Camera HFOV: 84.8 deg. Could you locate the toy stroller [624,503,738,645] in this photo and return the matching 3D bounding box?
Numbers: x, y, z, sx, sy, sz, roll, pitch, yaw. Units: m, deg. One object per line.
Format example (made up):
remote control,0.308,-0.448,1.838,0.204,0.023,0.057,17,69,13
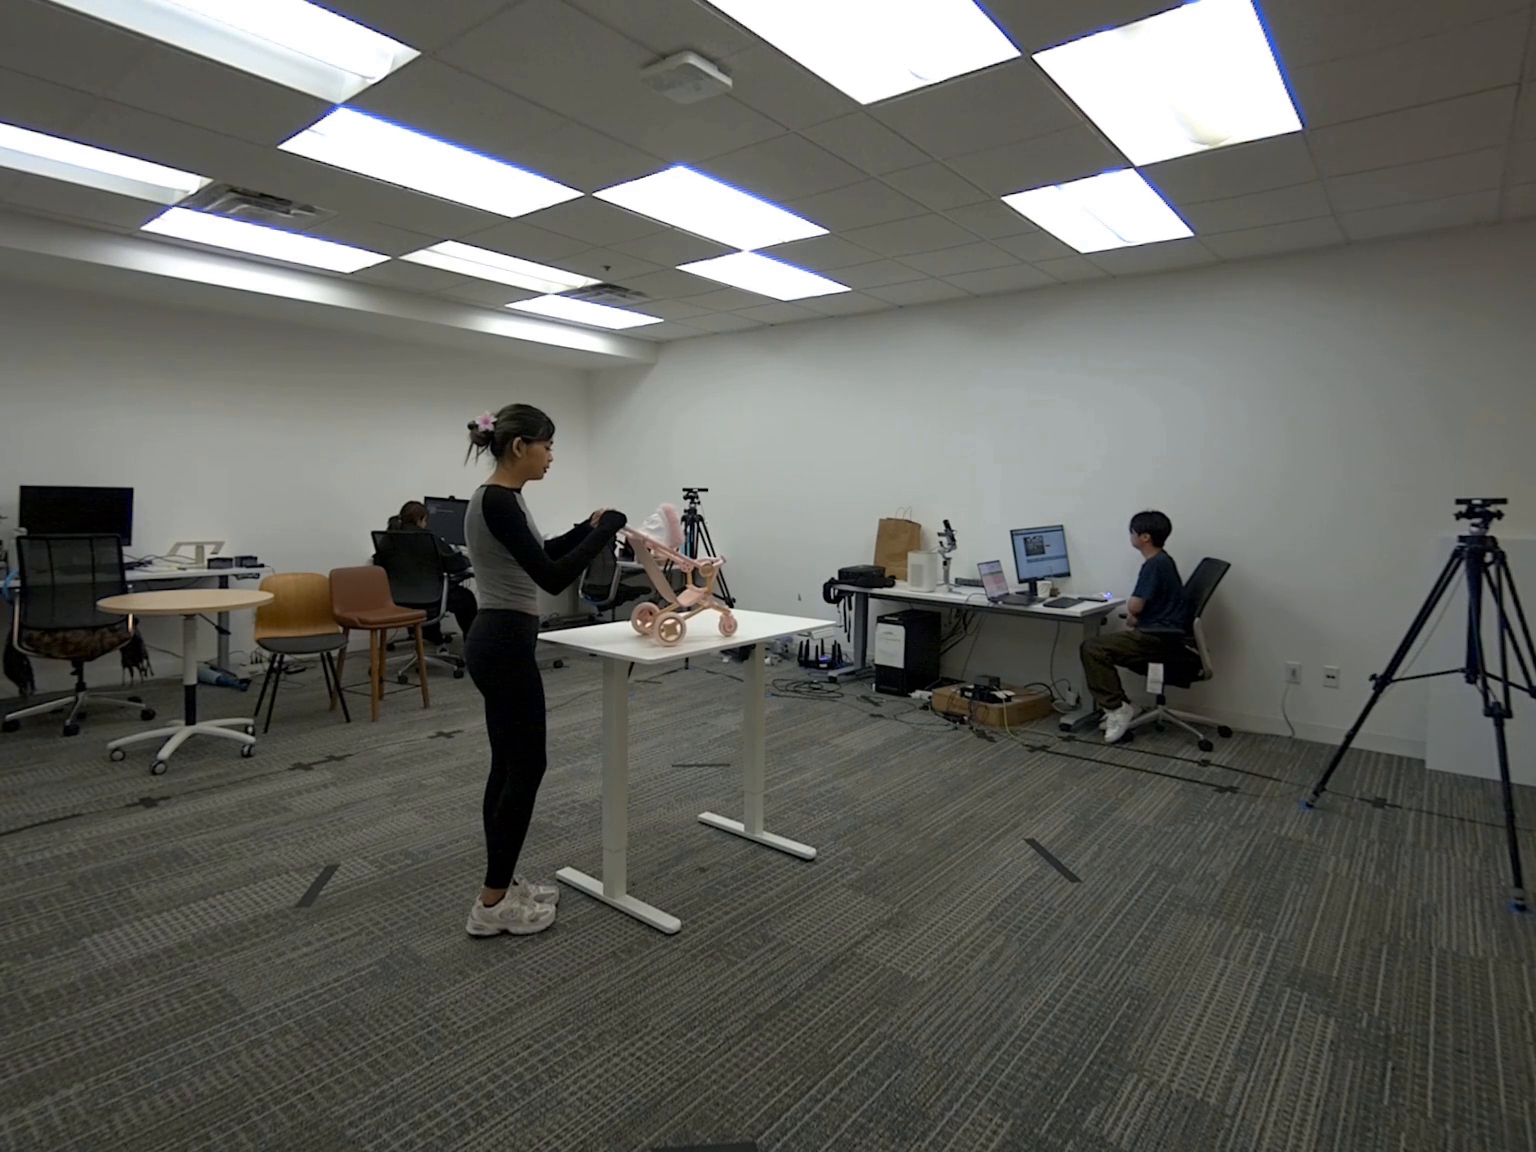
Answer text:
toy stroller,-0.322,-0.007,2.839,0.337,0.530,0.288,-18,9,-18
